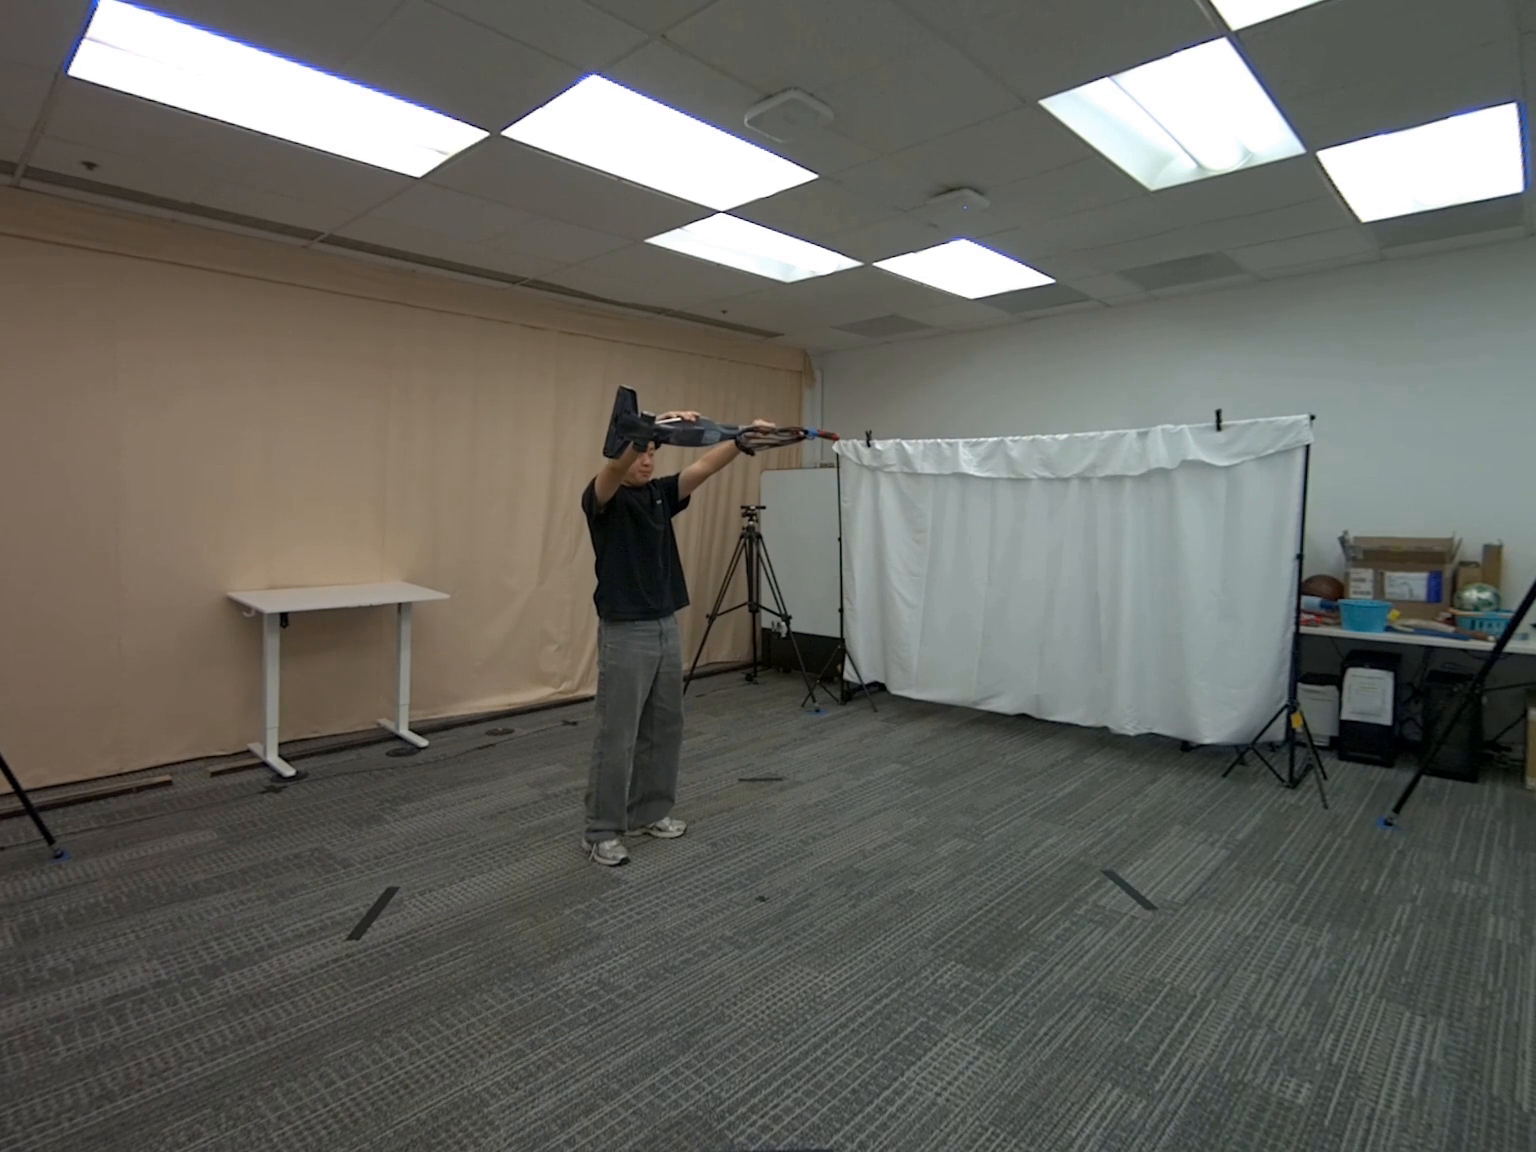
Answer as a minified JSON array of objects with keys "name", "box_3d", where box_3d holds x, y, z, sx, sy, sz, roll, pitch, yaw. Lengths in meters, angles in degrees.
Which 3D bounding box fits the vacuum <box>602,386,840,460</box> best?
[{"name":"vacuum","box_3d":[-0.096,-0.531,3.155,1.018,0.251,0.149,-5,36,-43]}]
